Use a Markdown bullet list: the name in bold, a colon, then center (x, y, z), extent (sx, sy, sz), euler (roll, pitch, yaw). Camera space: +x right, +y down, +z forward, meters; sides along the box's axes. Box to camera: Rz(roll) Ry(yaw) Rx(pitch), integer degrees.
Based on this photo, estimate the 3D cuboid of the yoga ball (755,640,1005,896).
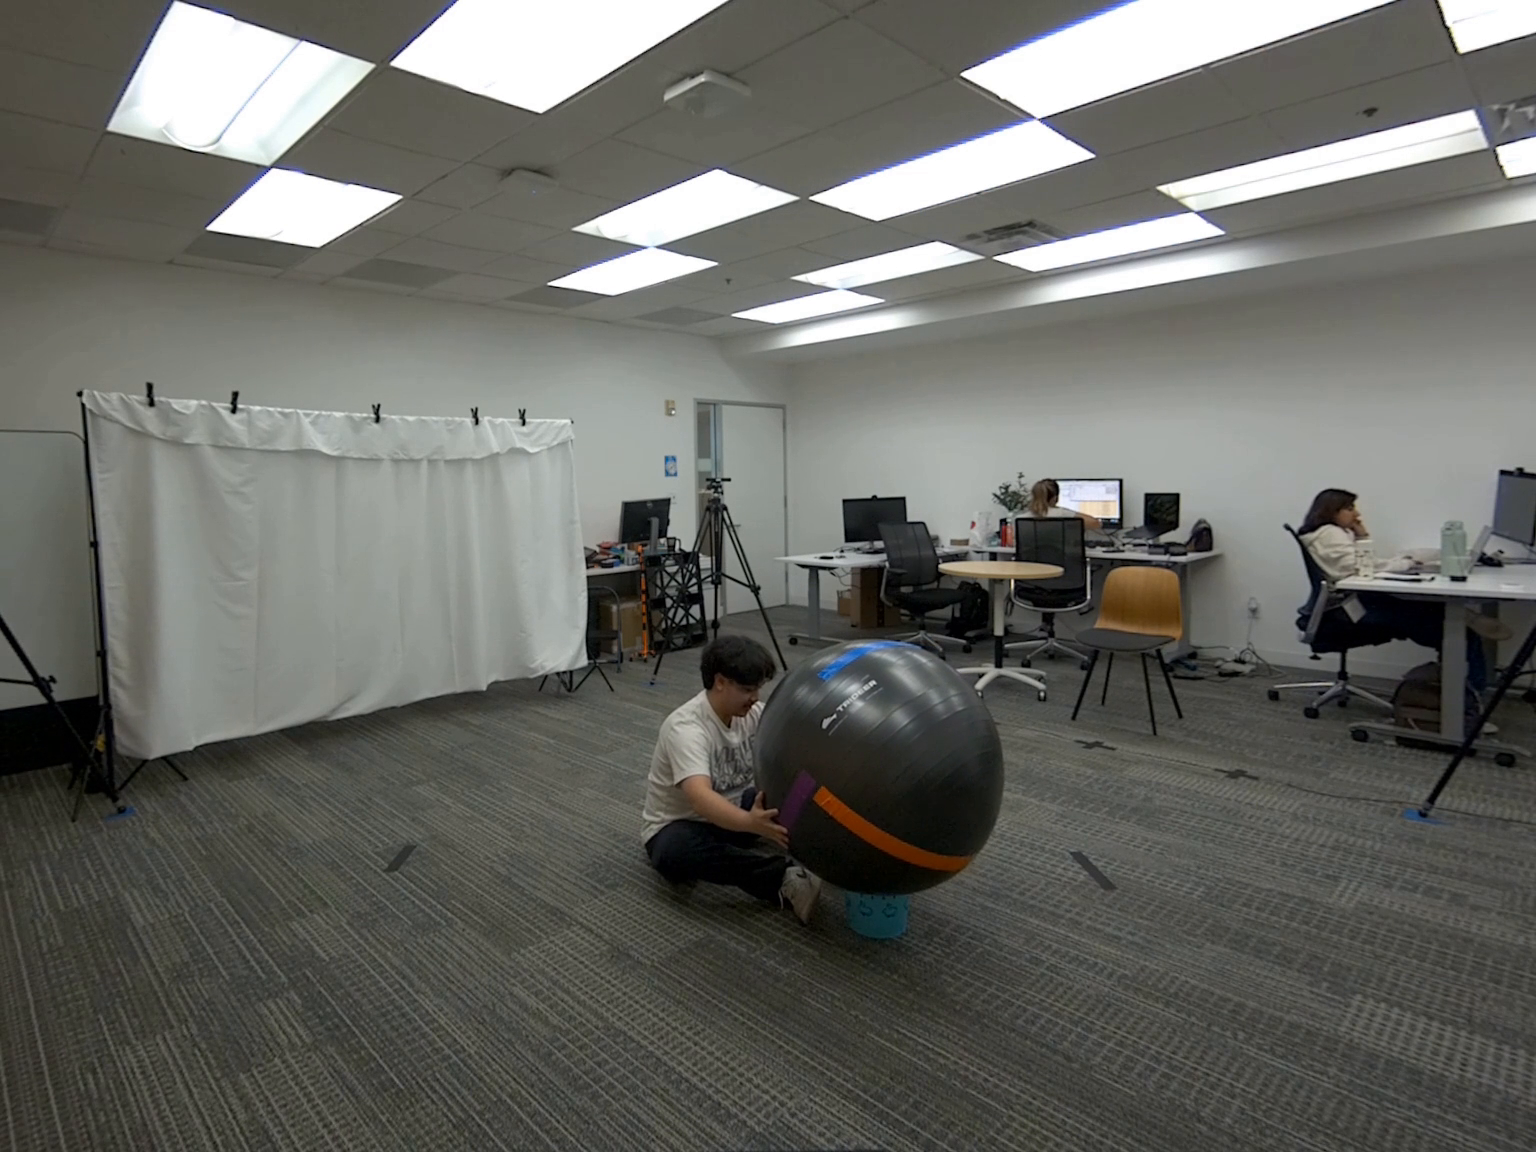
- **yoga ball**: center (0.335, 0.580, 2.630), extent (0.757, 0.755, 0.762), euler (-1, 5, -2)
